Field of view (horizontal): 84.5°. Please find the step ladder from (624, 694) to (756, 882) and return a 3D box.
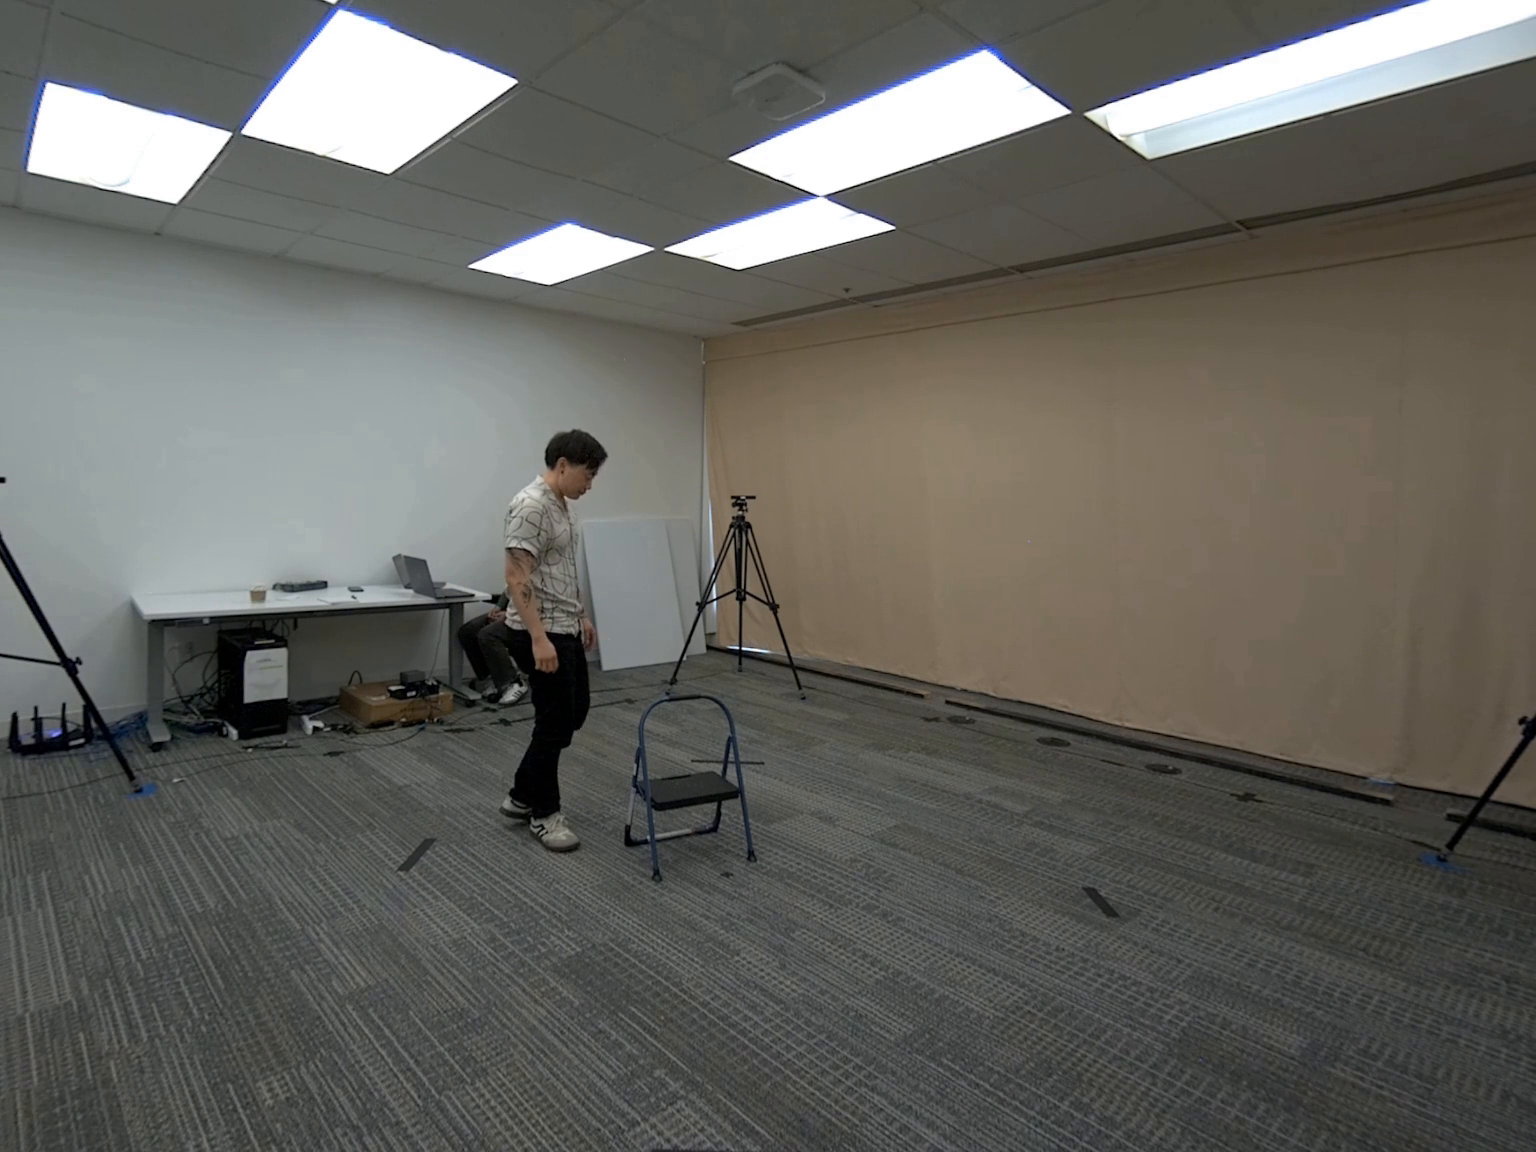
[{"bbox_3d":[-0.308,0.779,3.266,0.422,0.605,0.357,-1,3,-29],"label":"step ladder"}]
